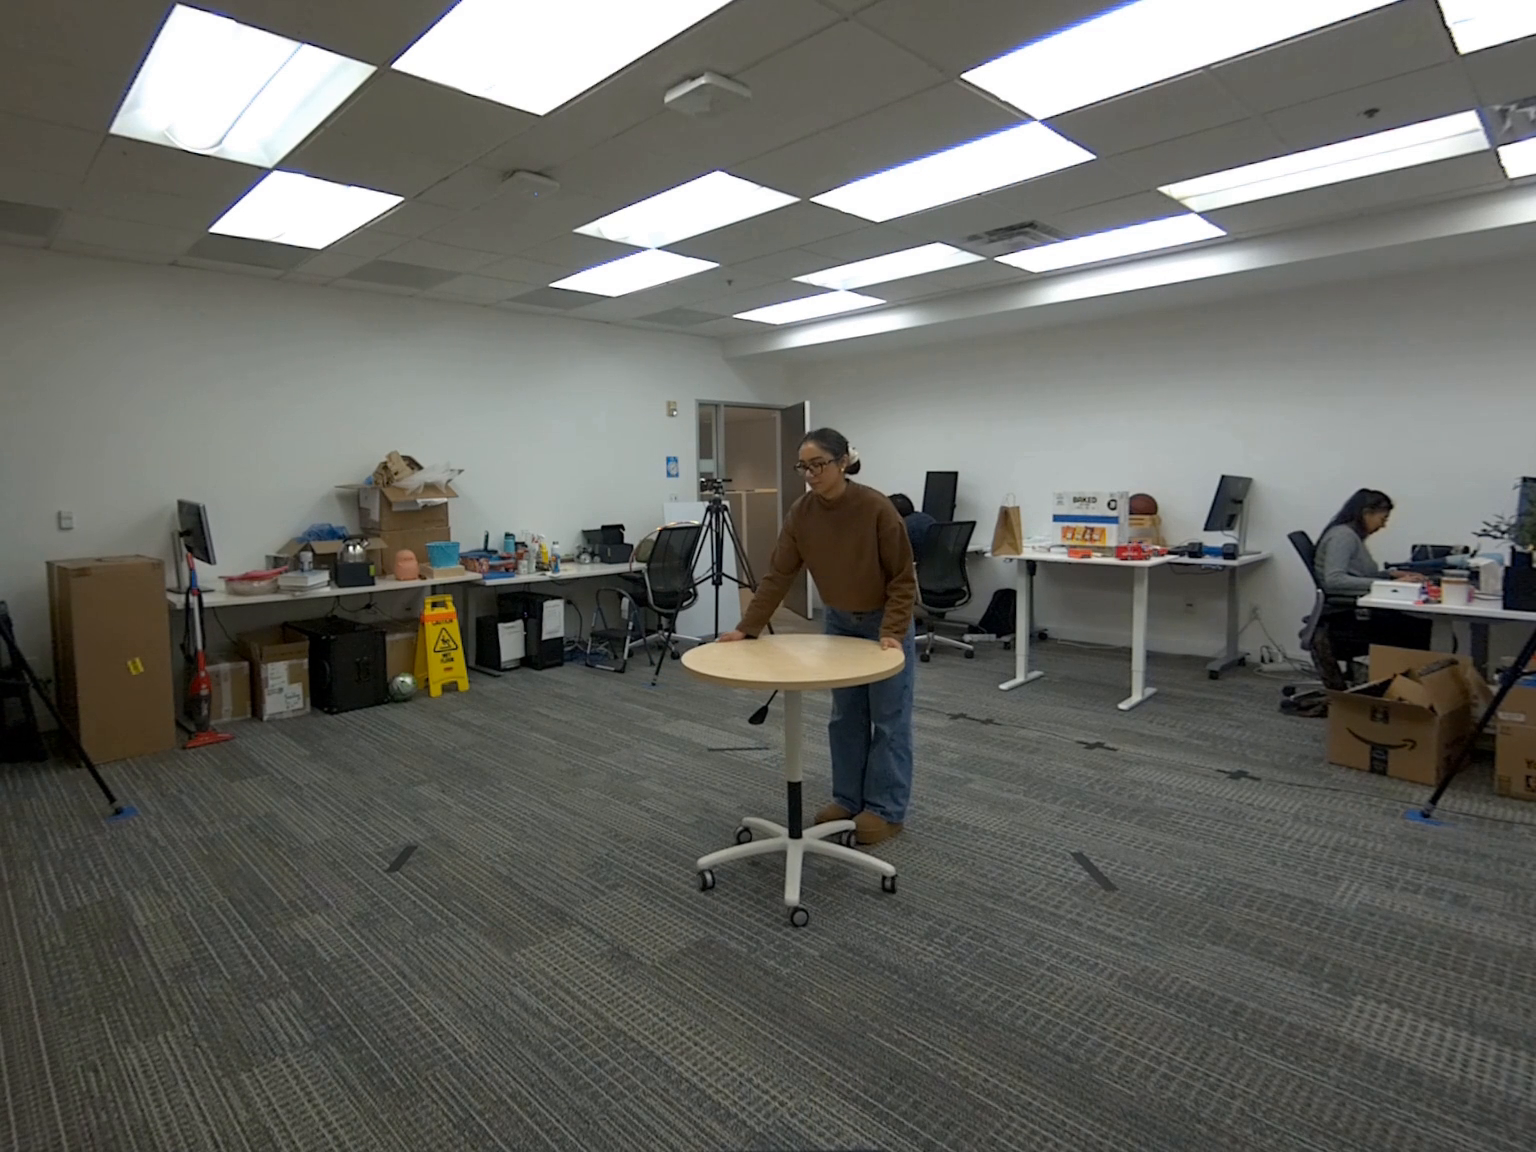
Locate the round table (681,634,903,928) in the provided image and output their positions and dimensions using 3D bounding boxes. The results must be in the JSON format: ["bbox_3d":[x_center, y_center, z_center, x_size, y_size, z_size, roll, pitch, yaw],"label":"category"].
[{"bbox_3d":[0.087,0.666,2.981,0.763,0.791,0.768,-2,5,-2],"label":"round table"}]
